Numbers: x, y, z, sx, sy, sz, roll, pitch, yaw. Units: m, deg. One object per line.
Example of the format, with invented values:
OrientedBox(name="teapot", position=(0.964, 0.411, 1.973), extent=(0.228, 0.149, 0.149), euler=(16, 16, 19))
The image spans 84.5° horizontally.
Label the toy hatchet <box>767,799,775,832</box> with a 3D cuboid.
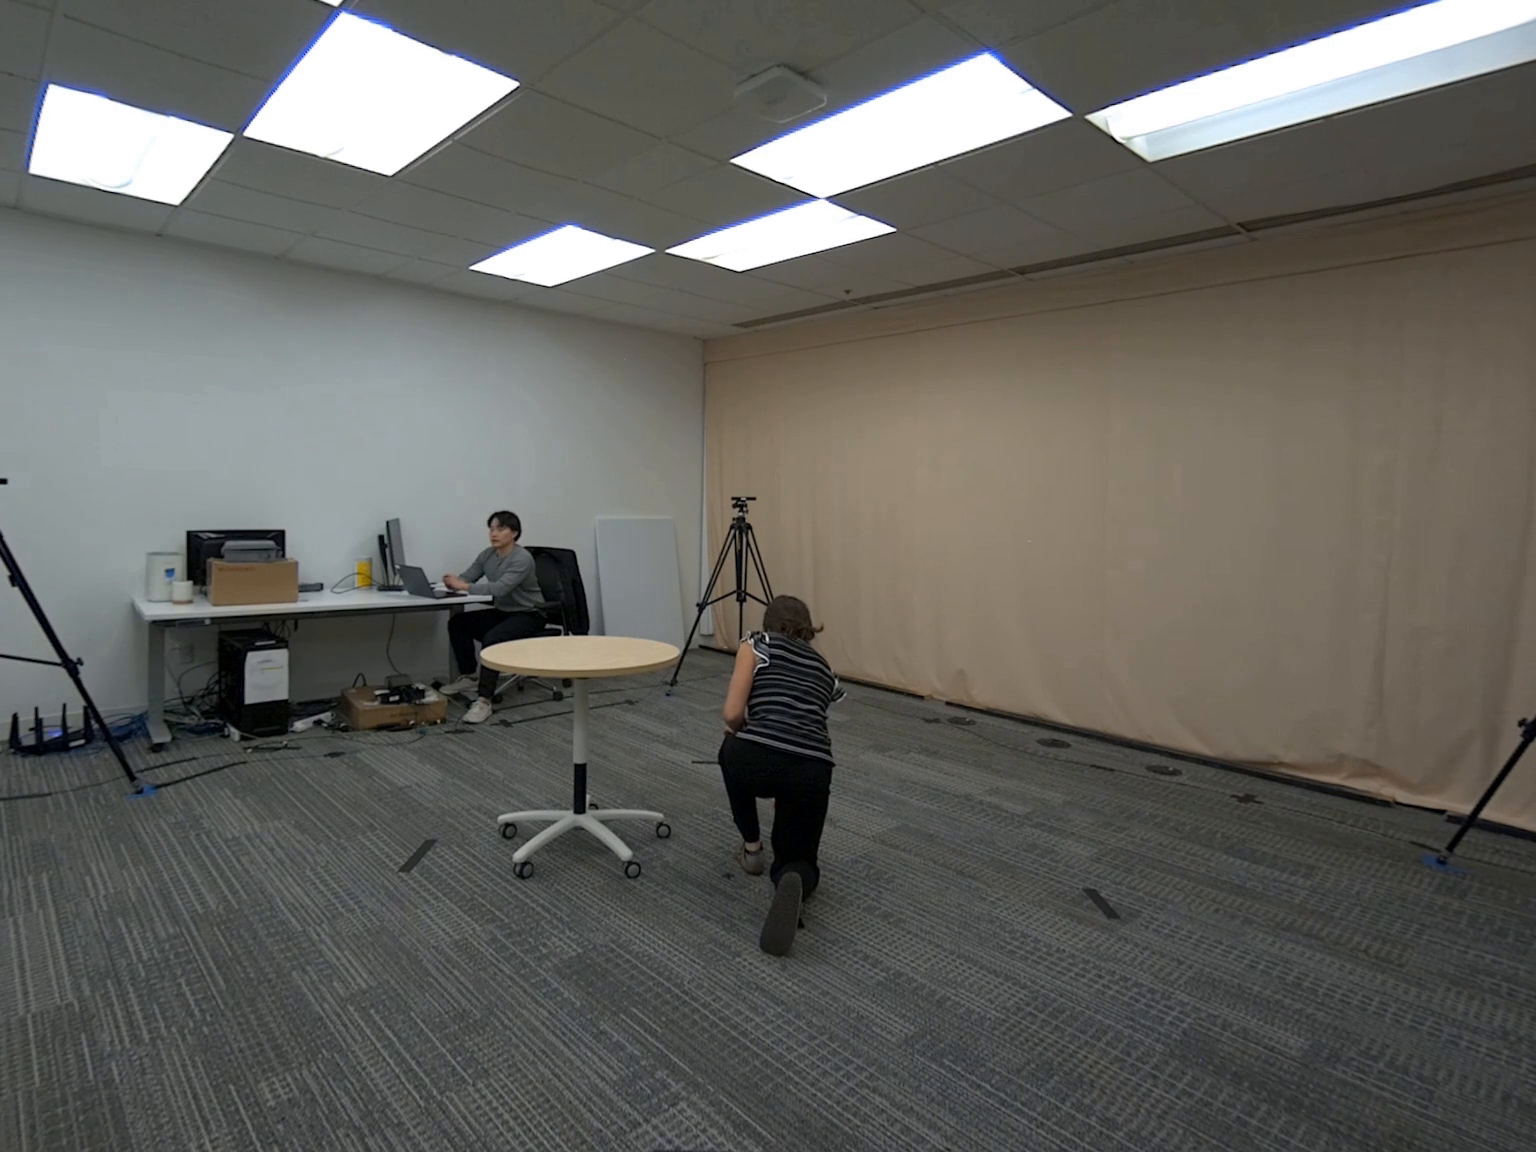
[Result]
OrientedBox(name="toy hatchet", position=(0.040, 0.946, 3.506), extent=(0.029, 0.131, 0.271), euler=(25, 4, -3))
